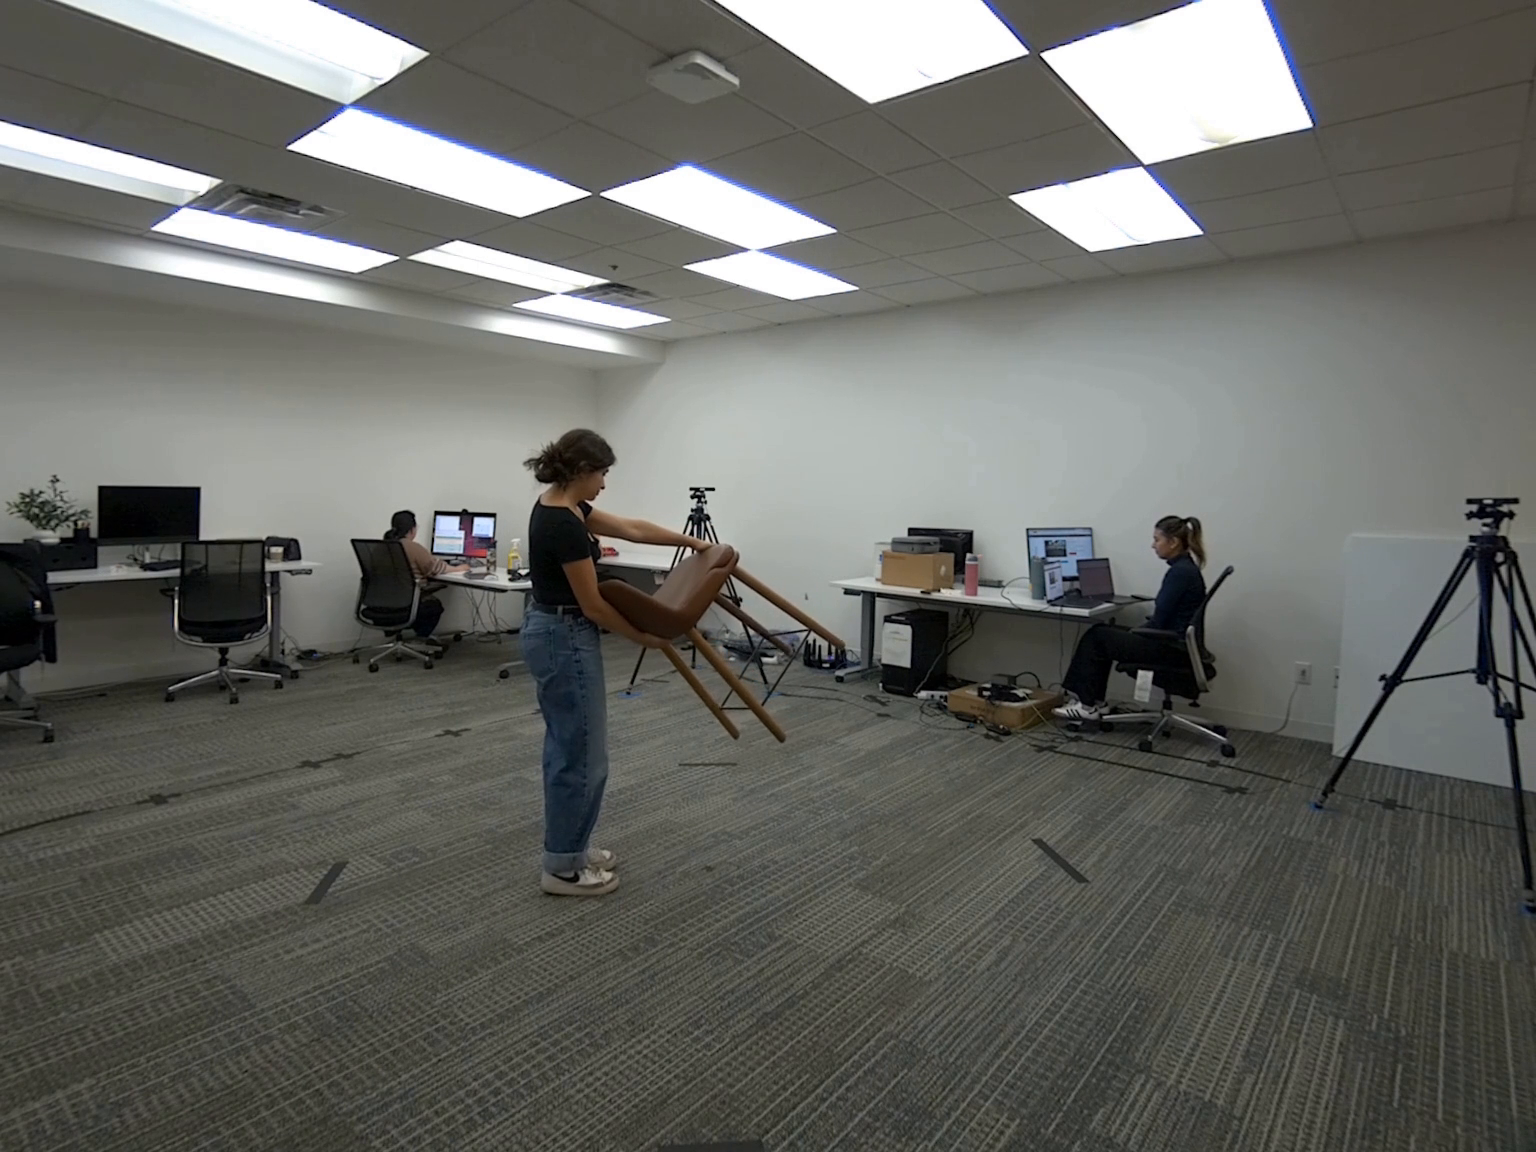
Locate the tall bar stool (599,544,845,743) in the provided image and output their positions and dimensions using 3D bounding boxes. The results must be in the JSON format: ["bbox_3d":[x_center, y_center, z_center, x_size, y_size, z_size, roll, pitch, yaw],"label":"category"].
[{"bbox_3d":[-0.234,0.177,3.175,0.871,0.469,0.464,42,-25,-16],"label":"tall bar stool"}]
